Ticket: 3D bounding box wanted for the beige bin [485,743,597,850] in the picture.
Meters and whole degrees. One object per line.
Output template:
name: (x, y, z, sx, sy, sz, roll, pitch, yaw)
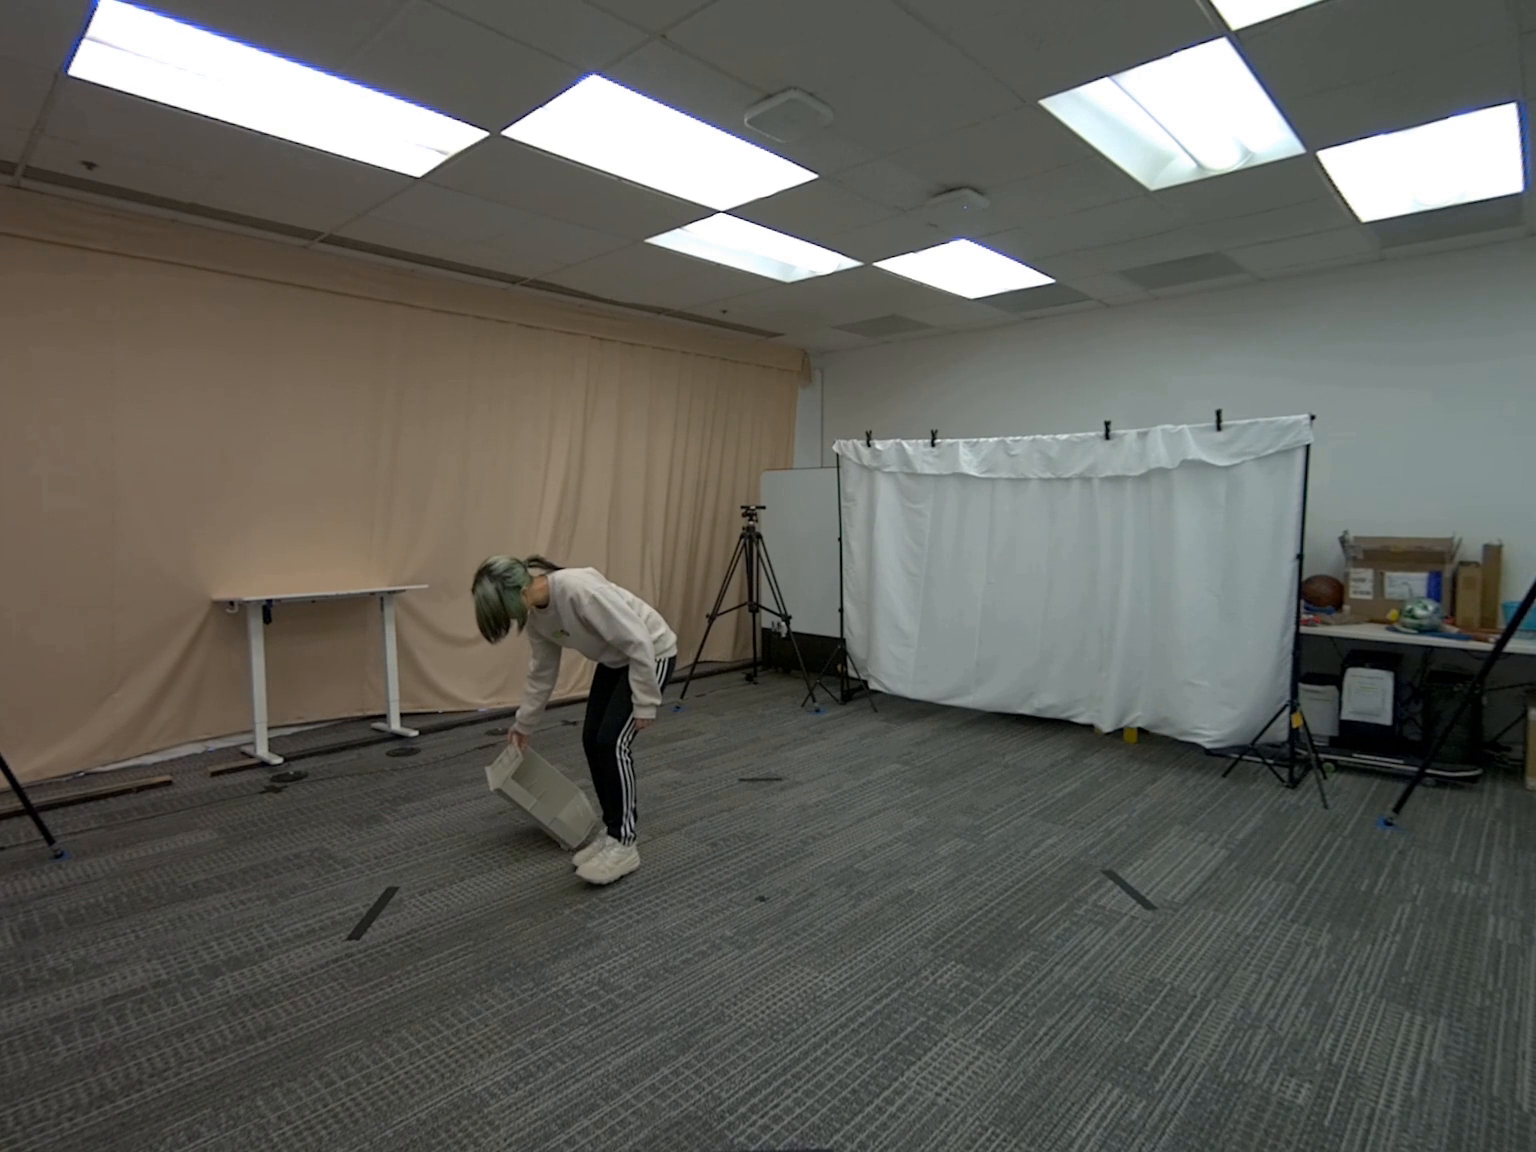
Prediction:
beige bin: (-0.957, 0.908, 3.498, 0.414, 0.188, 0.386, 44, -12, -17)
